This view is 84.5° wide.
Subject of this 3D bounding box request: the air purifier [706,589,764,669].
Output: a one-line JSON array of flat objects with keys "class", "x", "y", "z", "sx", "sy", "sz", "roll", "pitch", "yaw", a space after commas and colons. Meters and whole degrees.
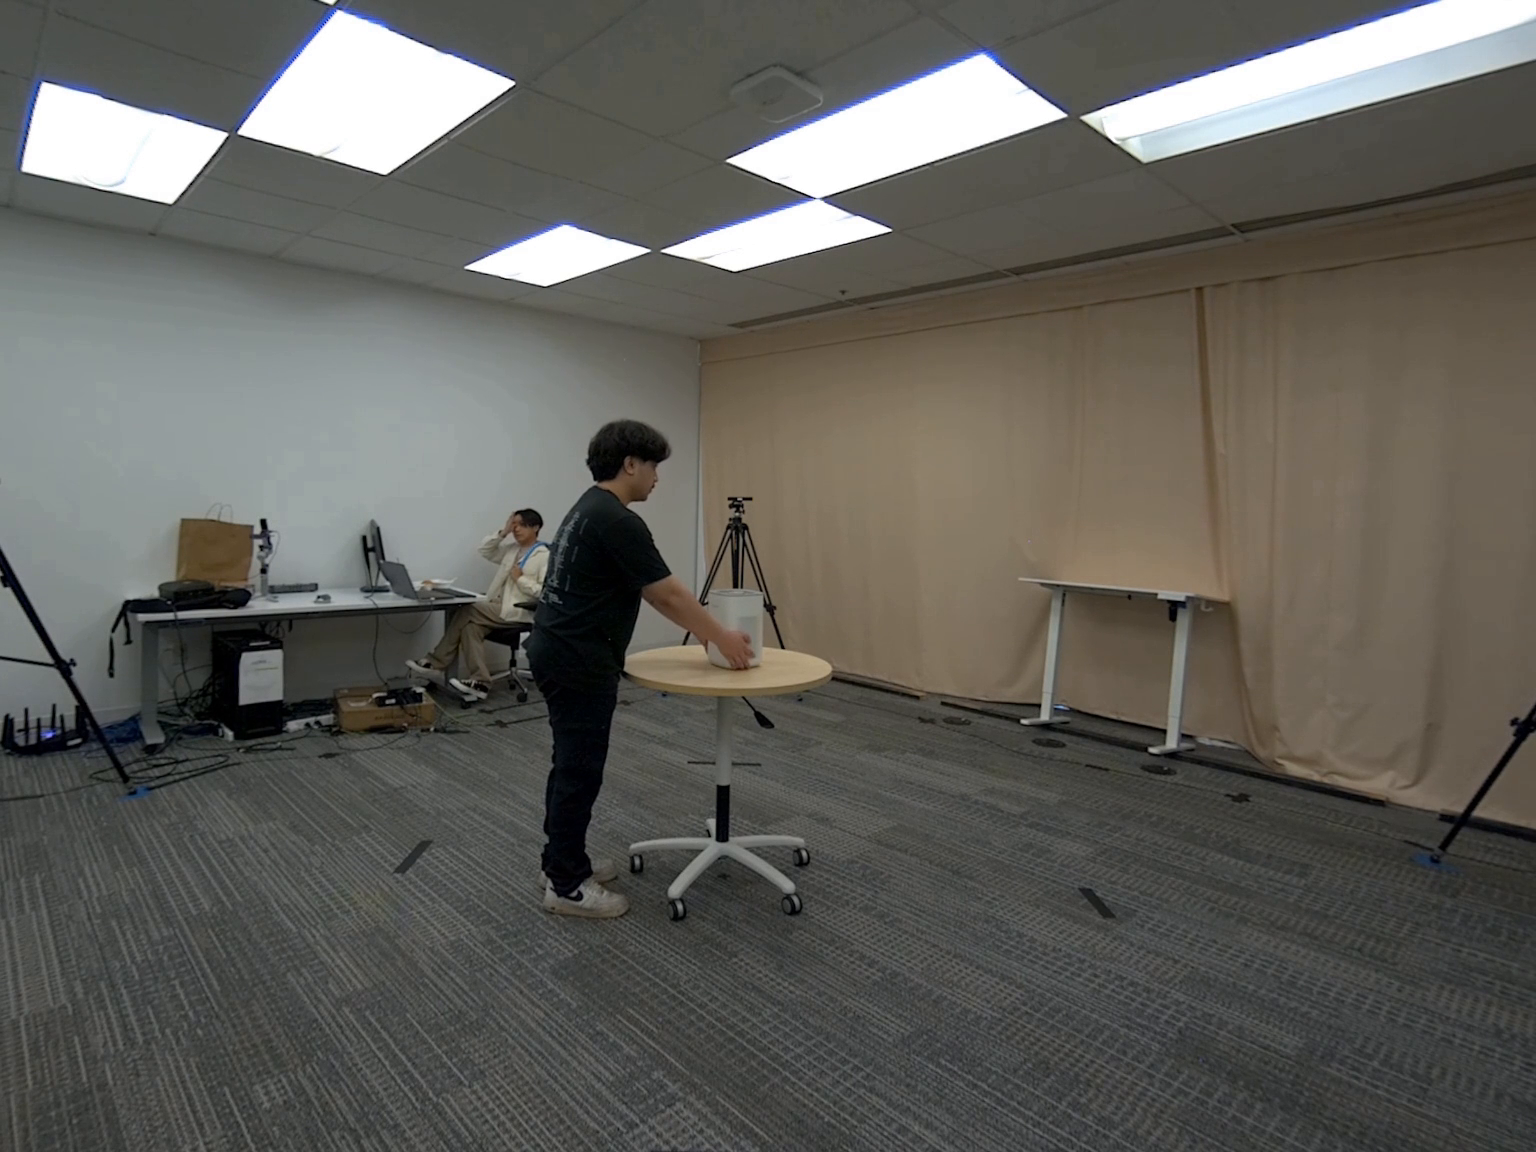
[{"class": "air purifier", "x": -0.130, "y": 0.184, "z": 3.021, "sx": 0.168, "sy": 0.264, "sz": 0.175, "roll": -5, "pitch": 8, "yaw": -40}]
